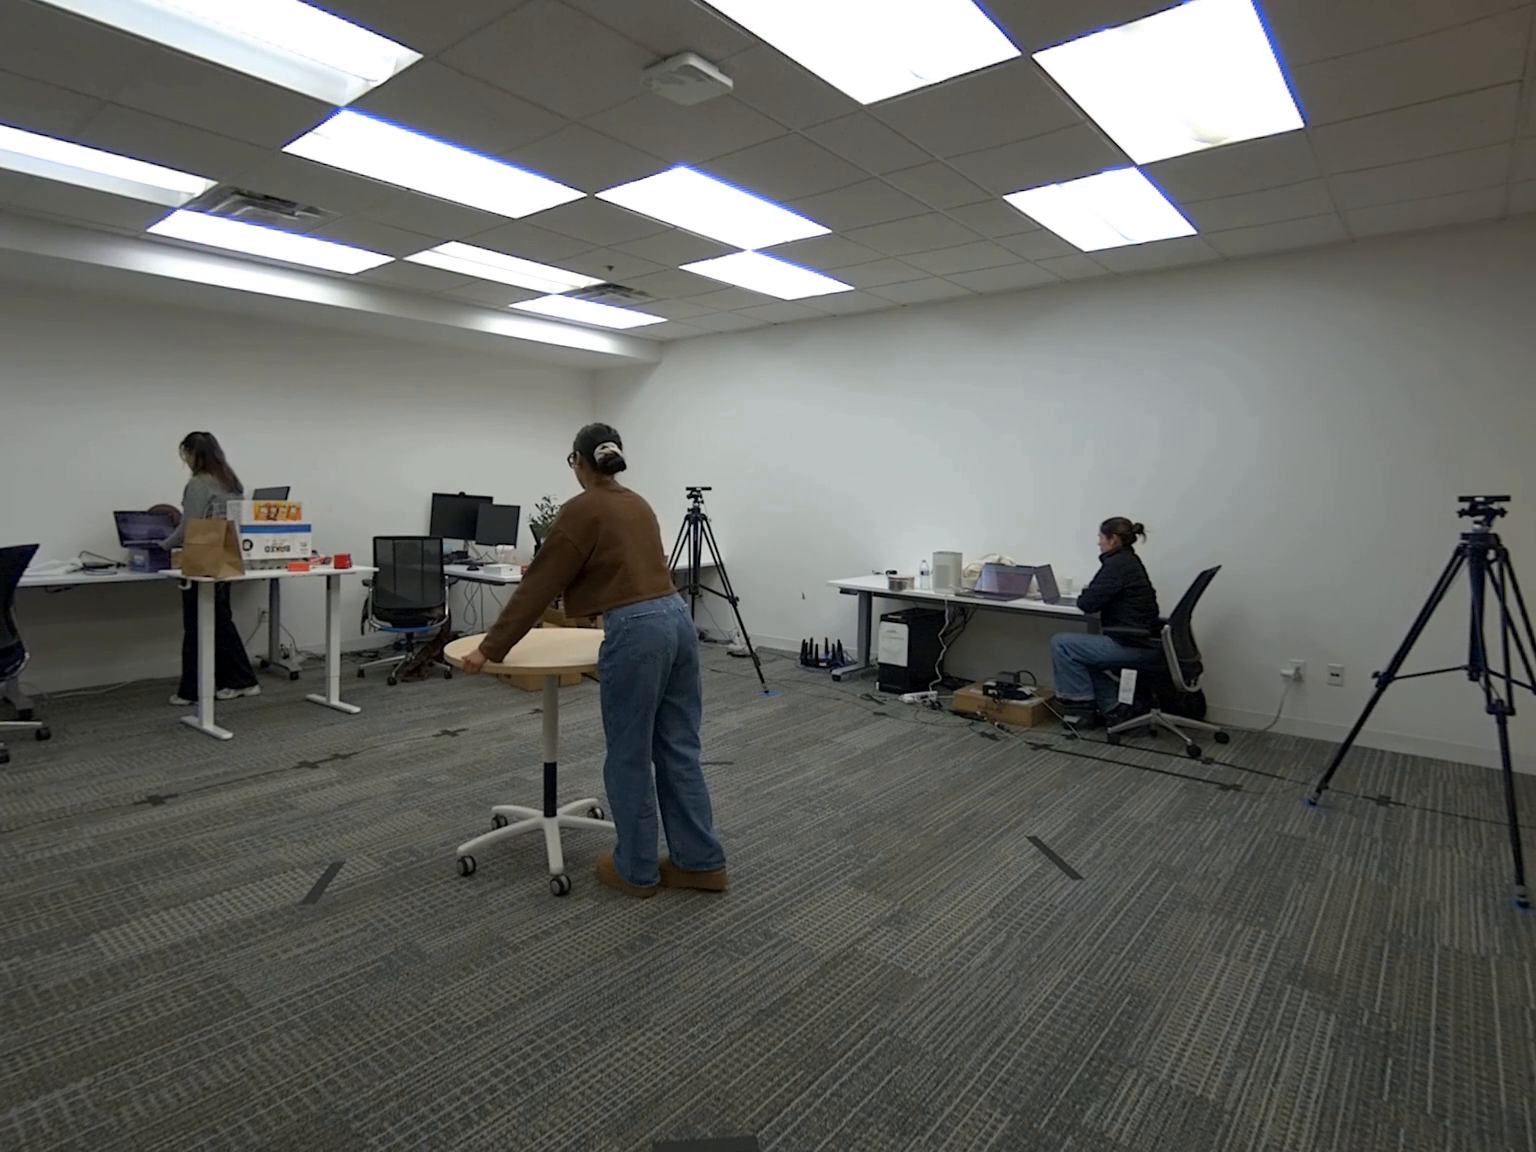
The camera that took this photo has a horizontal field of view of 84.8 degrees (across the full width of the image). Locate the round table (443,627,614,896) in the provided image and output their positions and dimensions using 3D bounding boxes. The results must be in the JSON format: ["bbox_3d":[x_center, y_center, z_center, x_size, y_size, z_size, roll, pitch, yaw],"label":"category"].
[{"bbox_3d":[-0.845,0.652,3.206,0.784,0.784,0.788,1,4,-2],"label":"round table"}]
